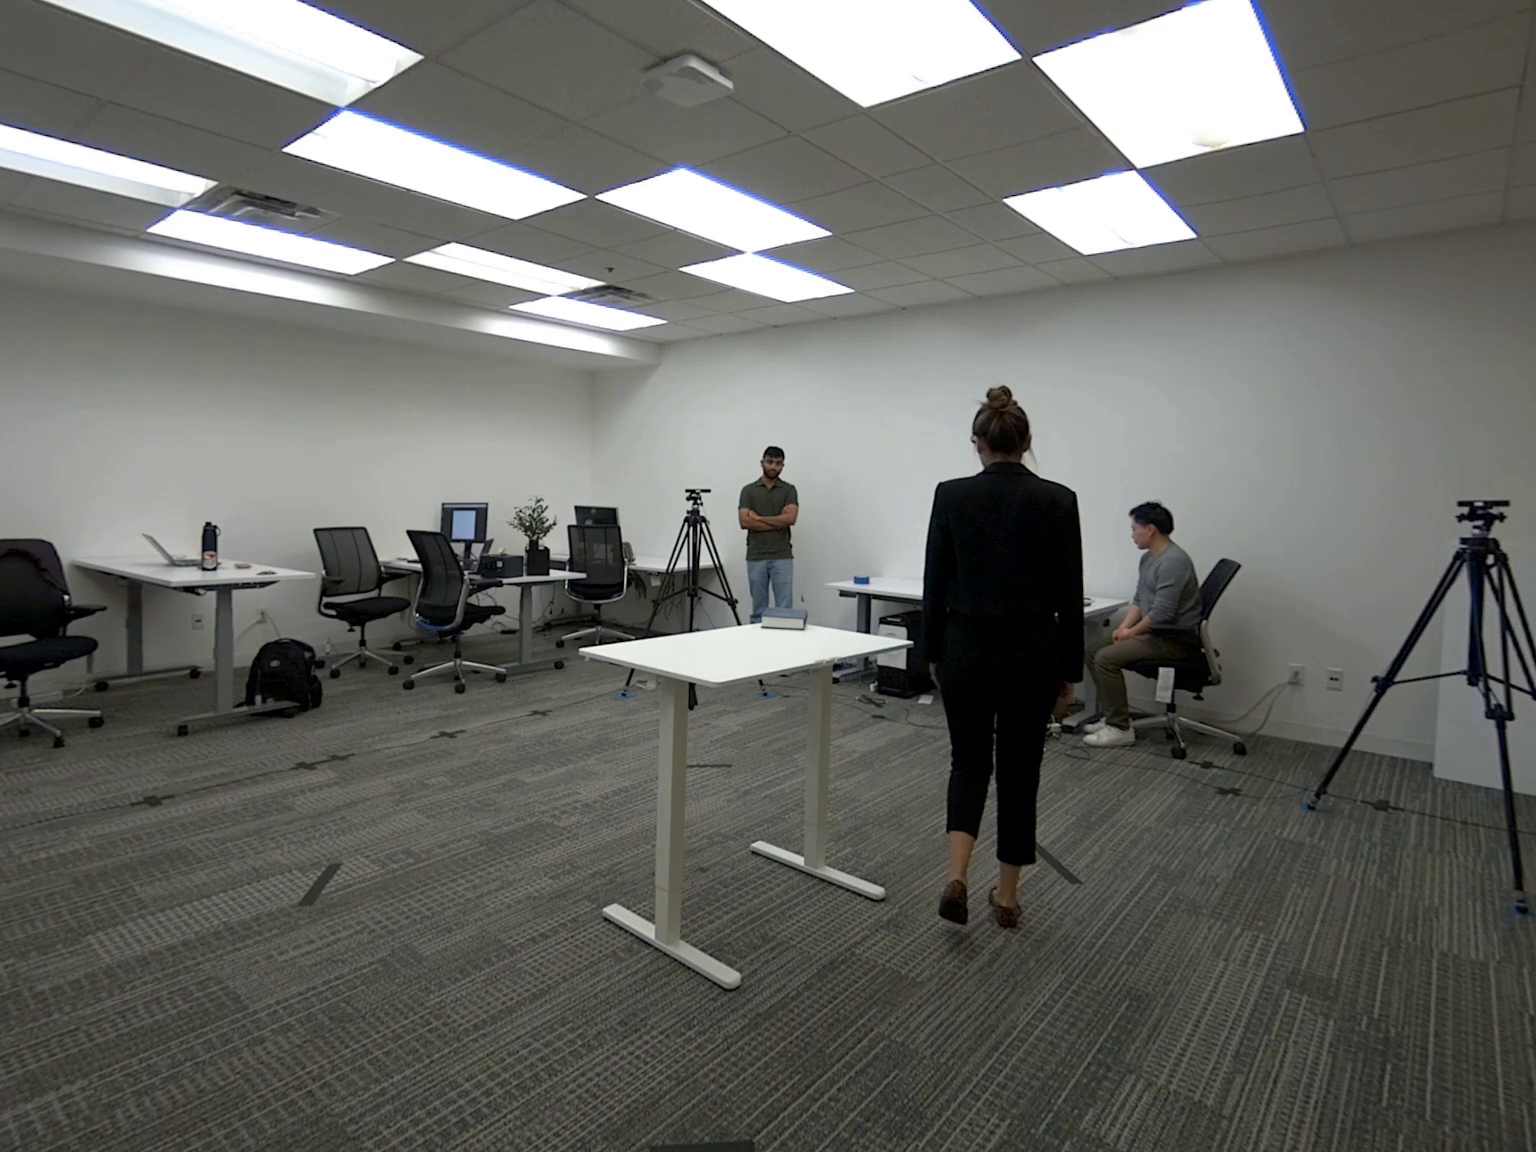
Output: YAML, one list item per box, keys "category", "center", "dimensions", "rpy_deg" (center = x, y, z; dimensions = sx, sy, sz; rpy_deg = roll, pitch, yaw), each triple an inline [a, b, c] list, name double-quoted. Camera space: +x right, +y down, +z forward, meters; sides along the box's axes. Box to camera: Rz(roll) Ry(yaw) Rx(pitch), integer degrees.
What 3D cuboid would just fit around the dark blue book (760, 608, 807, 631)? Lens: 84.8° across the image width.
- category: "dark blue book"
  center: [0.058, 0.158, 3.265]
  dimensions: [0.165, 0.045, 0.244]
  rpy_deg: [3, 6, 6]
